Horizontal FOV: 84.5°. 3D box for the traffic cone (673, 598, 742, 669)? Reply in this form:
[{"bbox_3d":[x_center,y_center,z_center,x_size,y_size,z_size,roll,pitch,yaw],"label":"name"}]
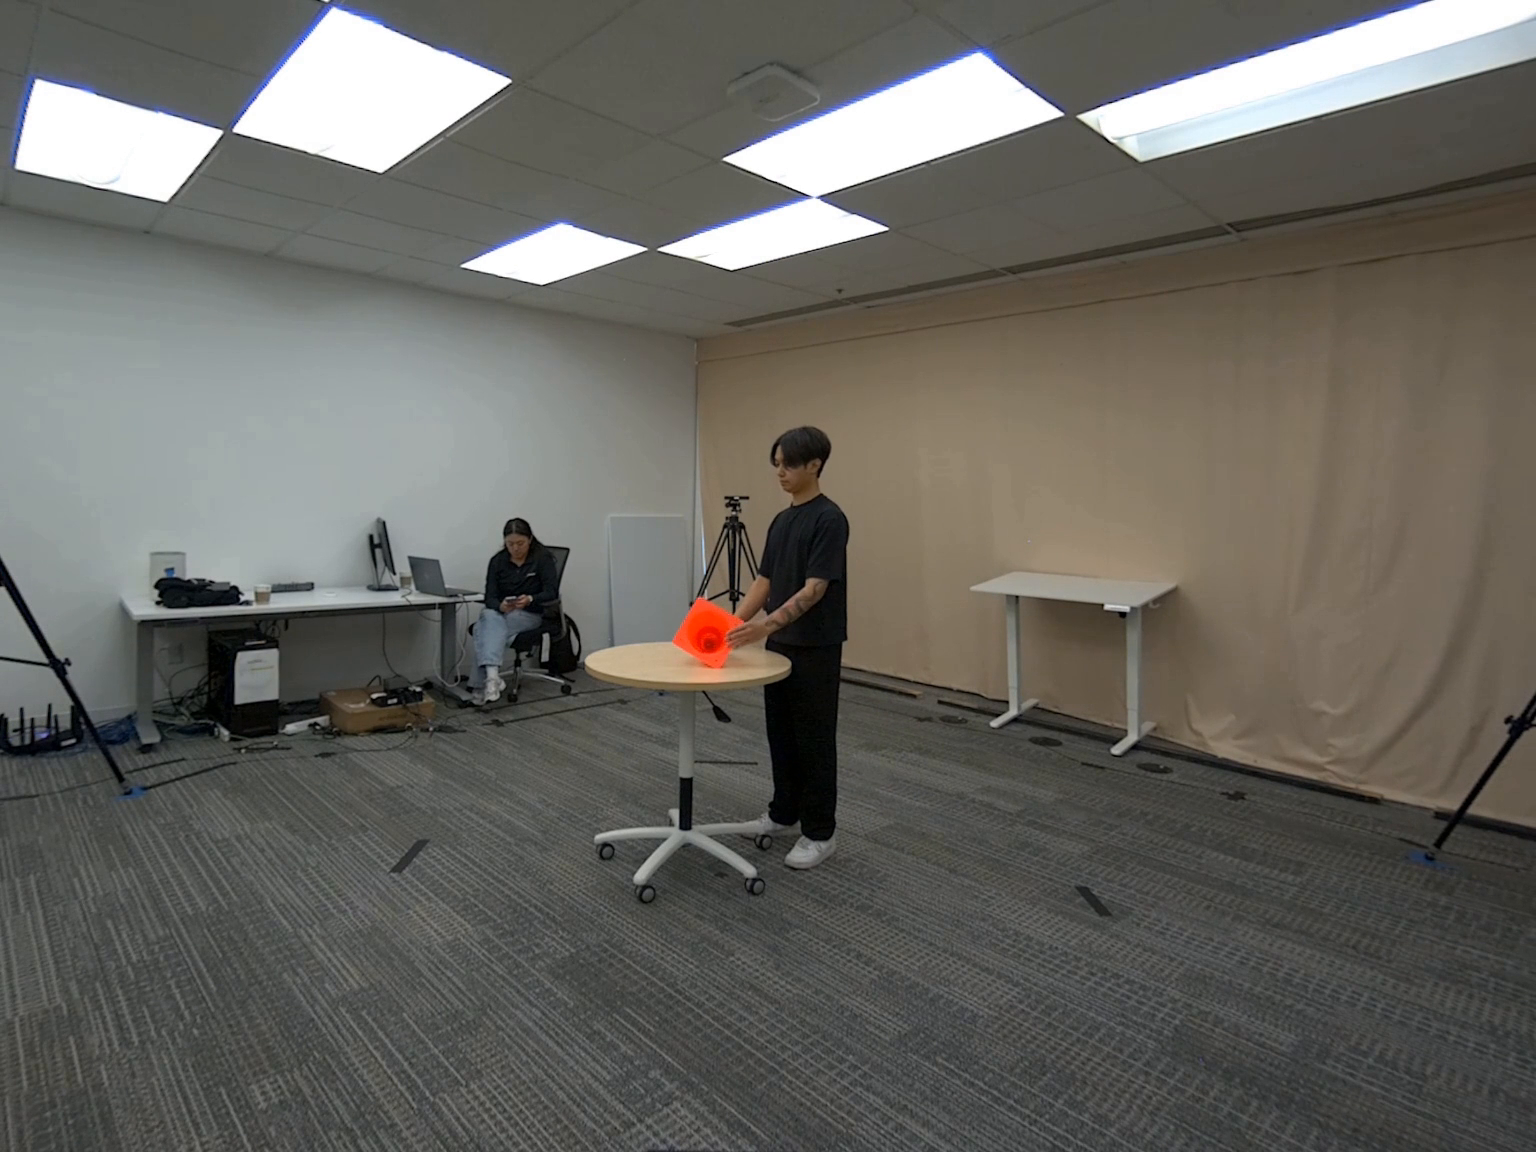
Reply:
[{"bbox_3d":[-0.240,0.240,3.217,0.203,0.205,0.382,34,-13,0],"label":"traffic cone"}]
